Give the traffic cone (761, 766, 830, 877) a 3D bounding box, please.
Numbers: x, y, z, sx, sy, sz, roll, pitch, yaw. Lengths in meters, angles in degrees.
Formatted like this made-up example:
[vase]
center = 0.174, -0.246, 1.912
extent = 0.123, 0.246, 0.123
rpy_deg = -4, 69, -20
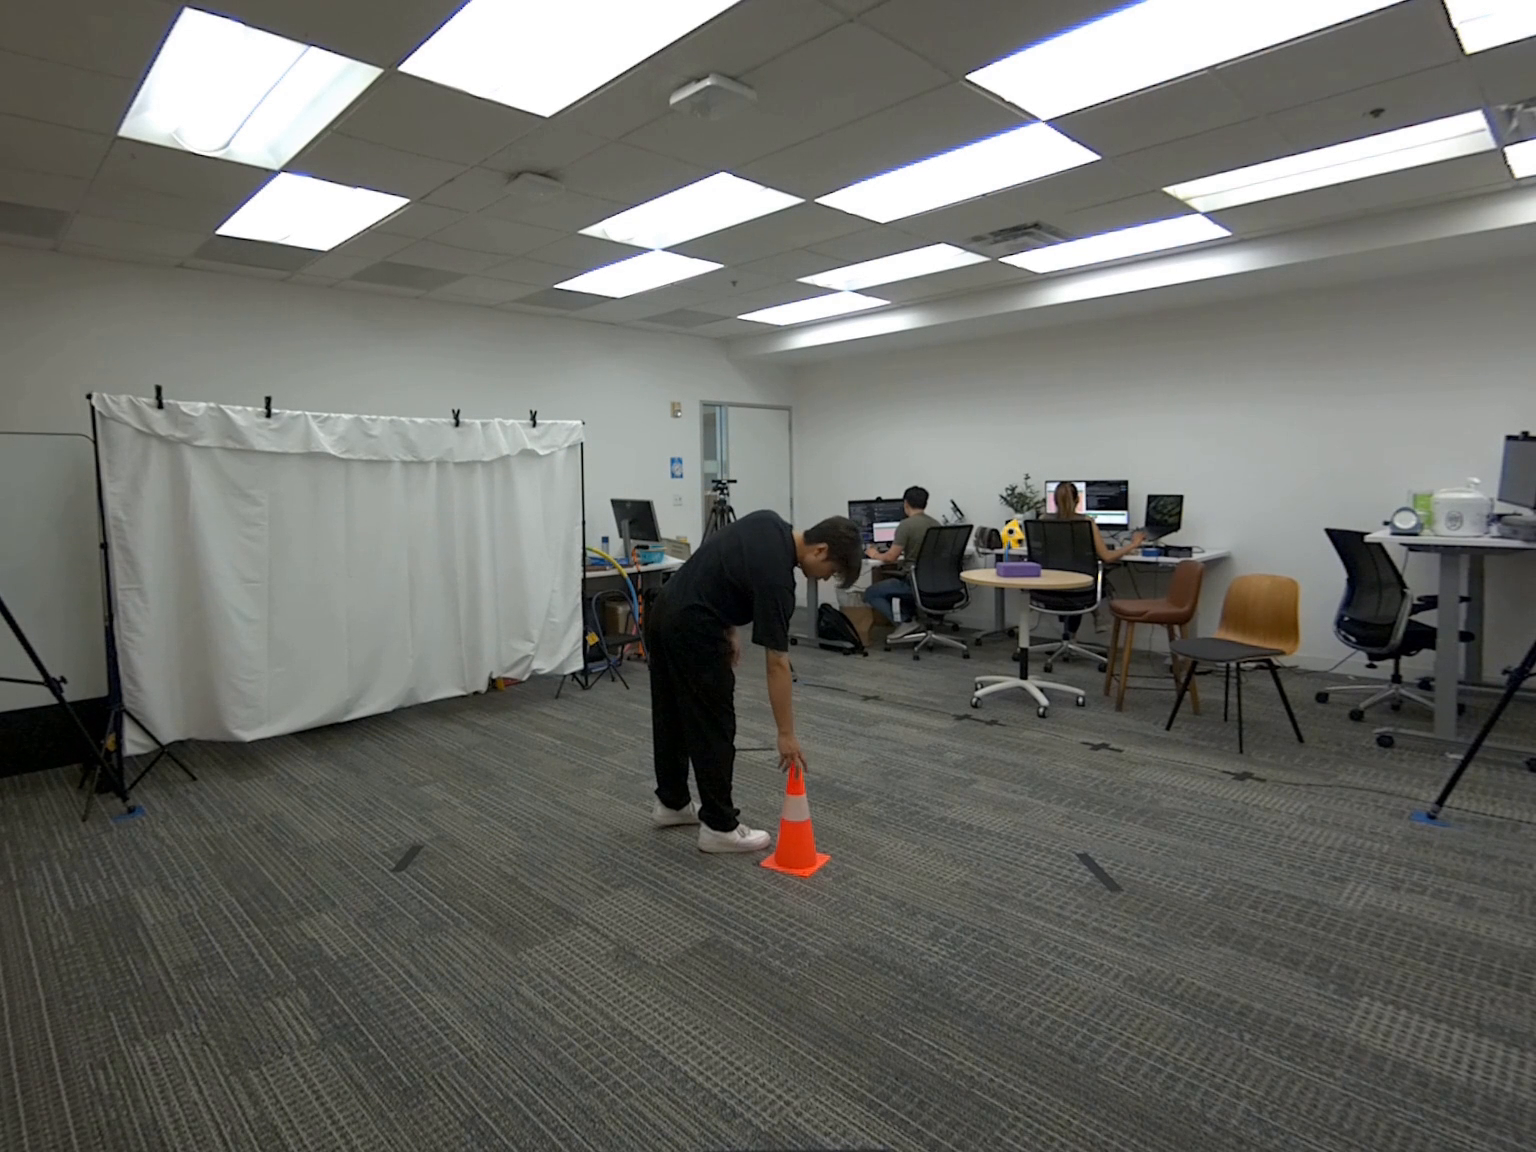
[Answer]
[traffic cone]
center = 0.099, 0.863, 3.118
extent = 0.209, 0.382, 0.200
rpy_deg = 2, 6, 44
